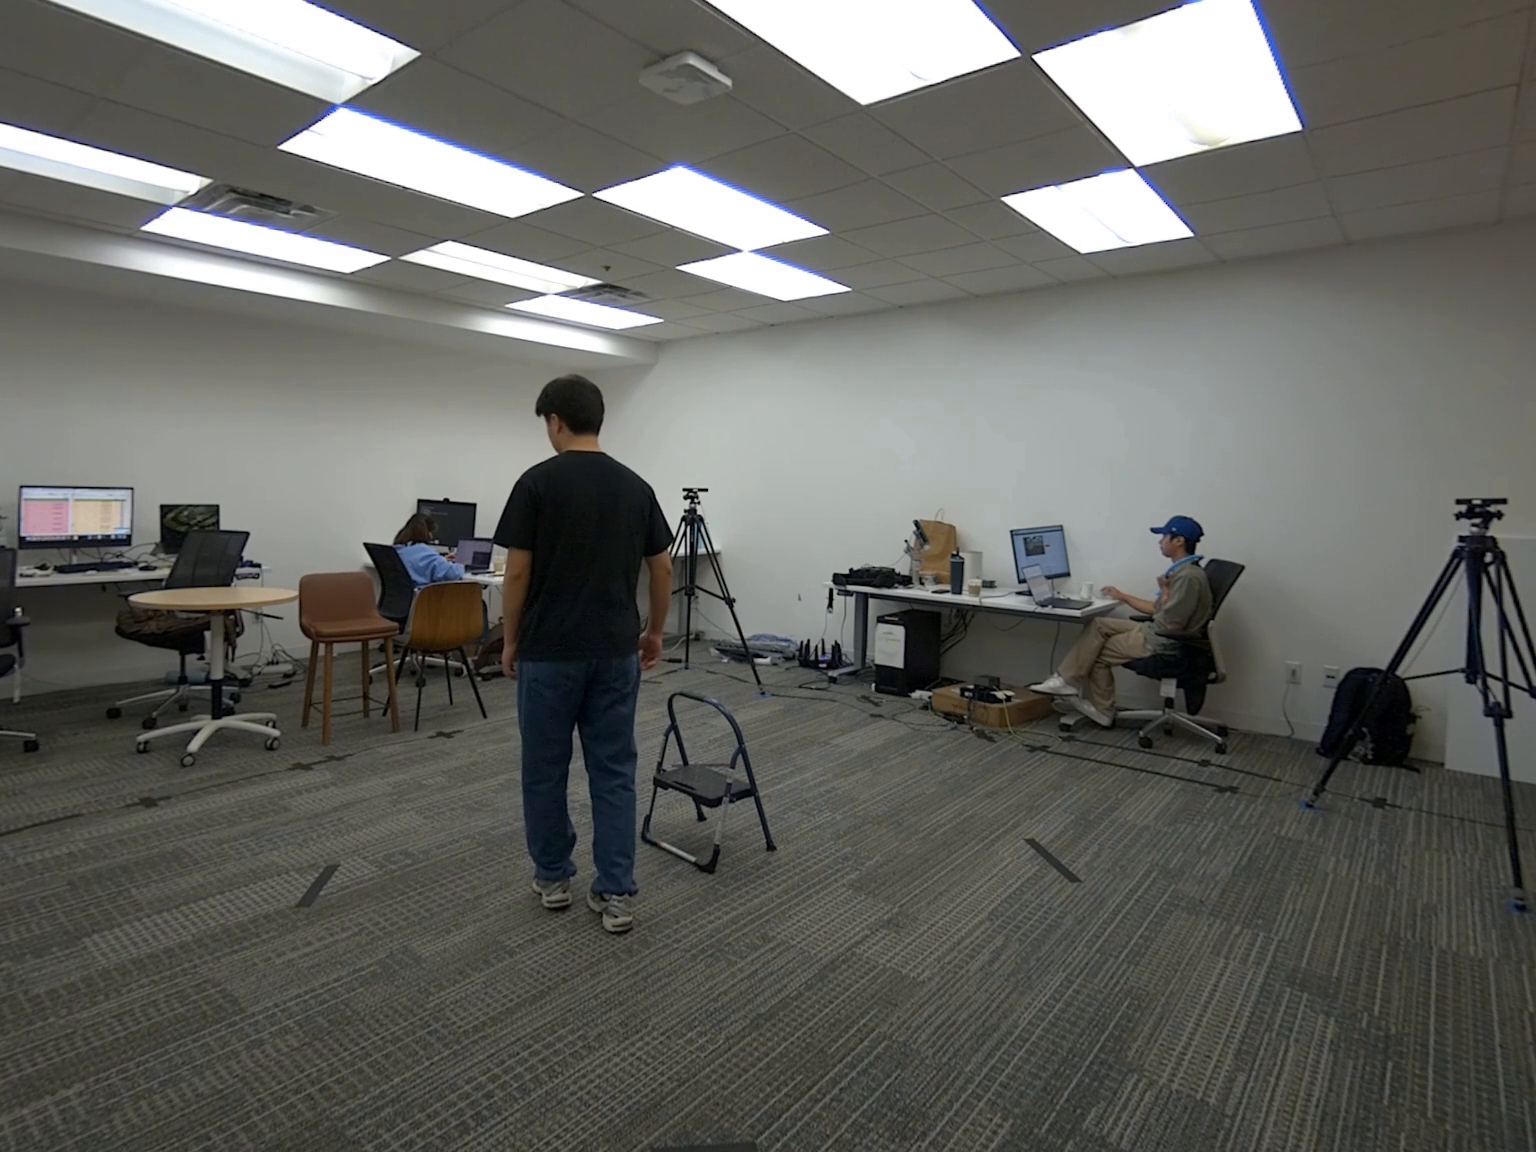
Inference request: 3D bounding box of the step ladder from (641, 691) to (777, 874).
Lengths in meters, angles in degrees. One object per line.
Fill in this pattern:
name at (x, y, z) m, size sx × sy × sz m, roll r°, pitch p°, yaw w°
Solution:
step ladder at (-0.244, 0.741, 3.316) m, size 0.445 × 0.604 × 0.339 m, roll 4°, pitch 4°, yaw 44°
